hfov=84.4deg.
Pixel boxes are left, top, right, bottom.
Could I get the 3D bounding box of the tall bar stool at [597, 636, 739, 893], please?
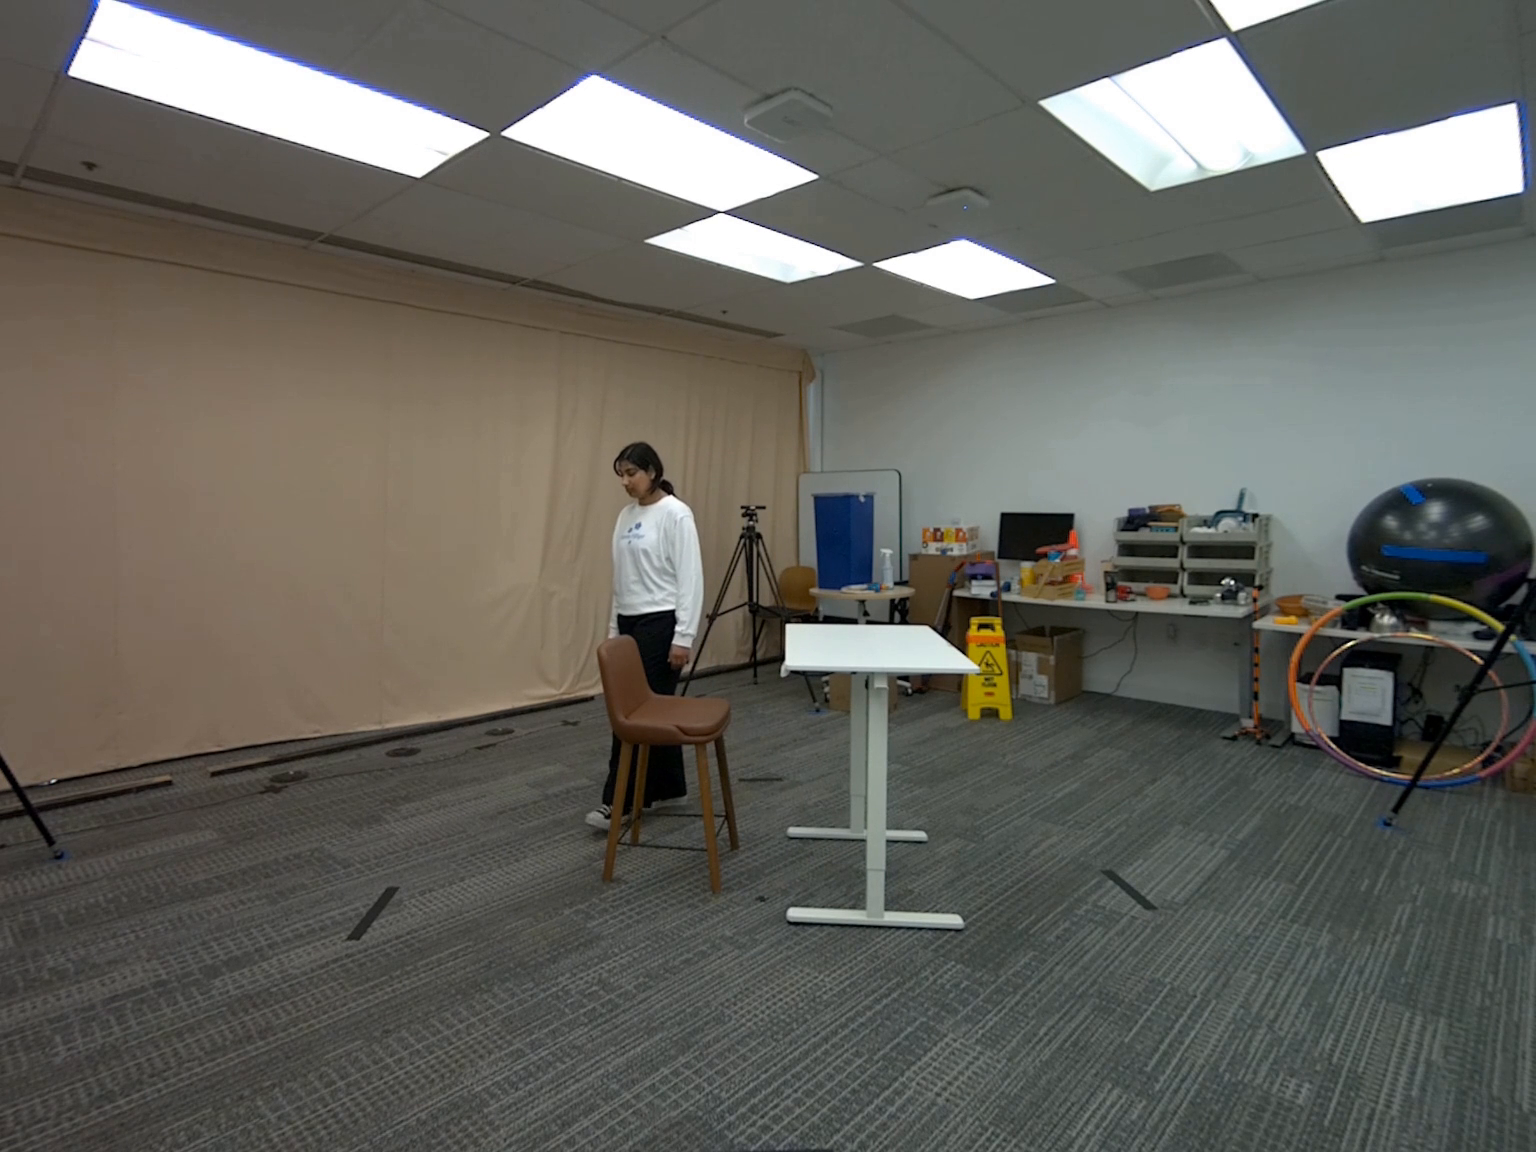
[{"bbox_3d":[-0.373,0.690,3.247,0.473,0.888,0.451,-2,2,11],"label":"tall bar stool"}]
